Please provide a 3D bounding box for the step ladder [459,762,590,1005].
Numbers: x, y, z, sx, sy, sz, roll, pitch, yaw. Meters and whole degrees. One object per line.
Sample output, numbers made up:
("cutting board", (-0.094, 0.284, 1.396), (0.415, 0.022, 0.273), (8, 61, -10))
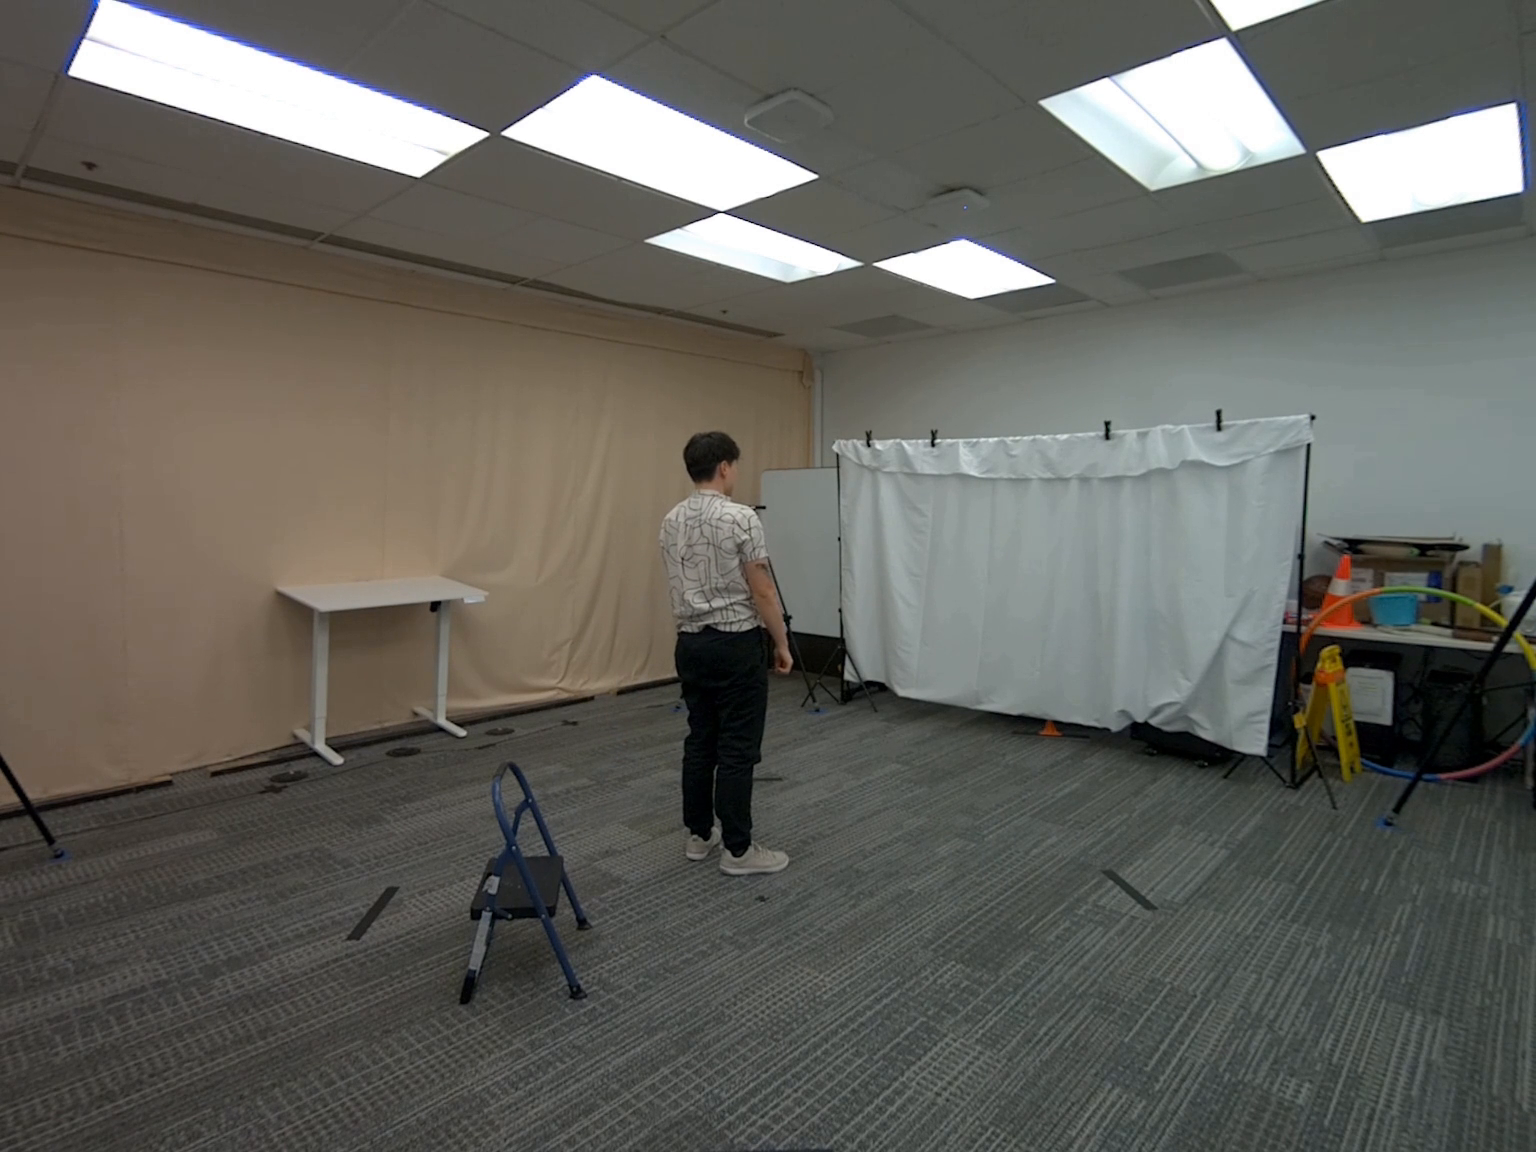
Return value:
("step ladder", (-0.733, 0.884, 2.556), (0.346, 0.605, 0.435), (-1, 4, -9))
